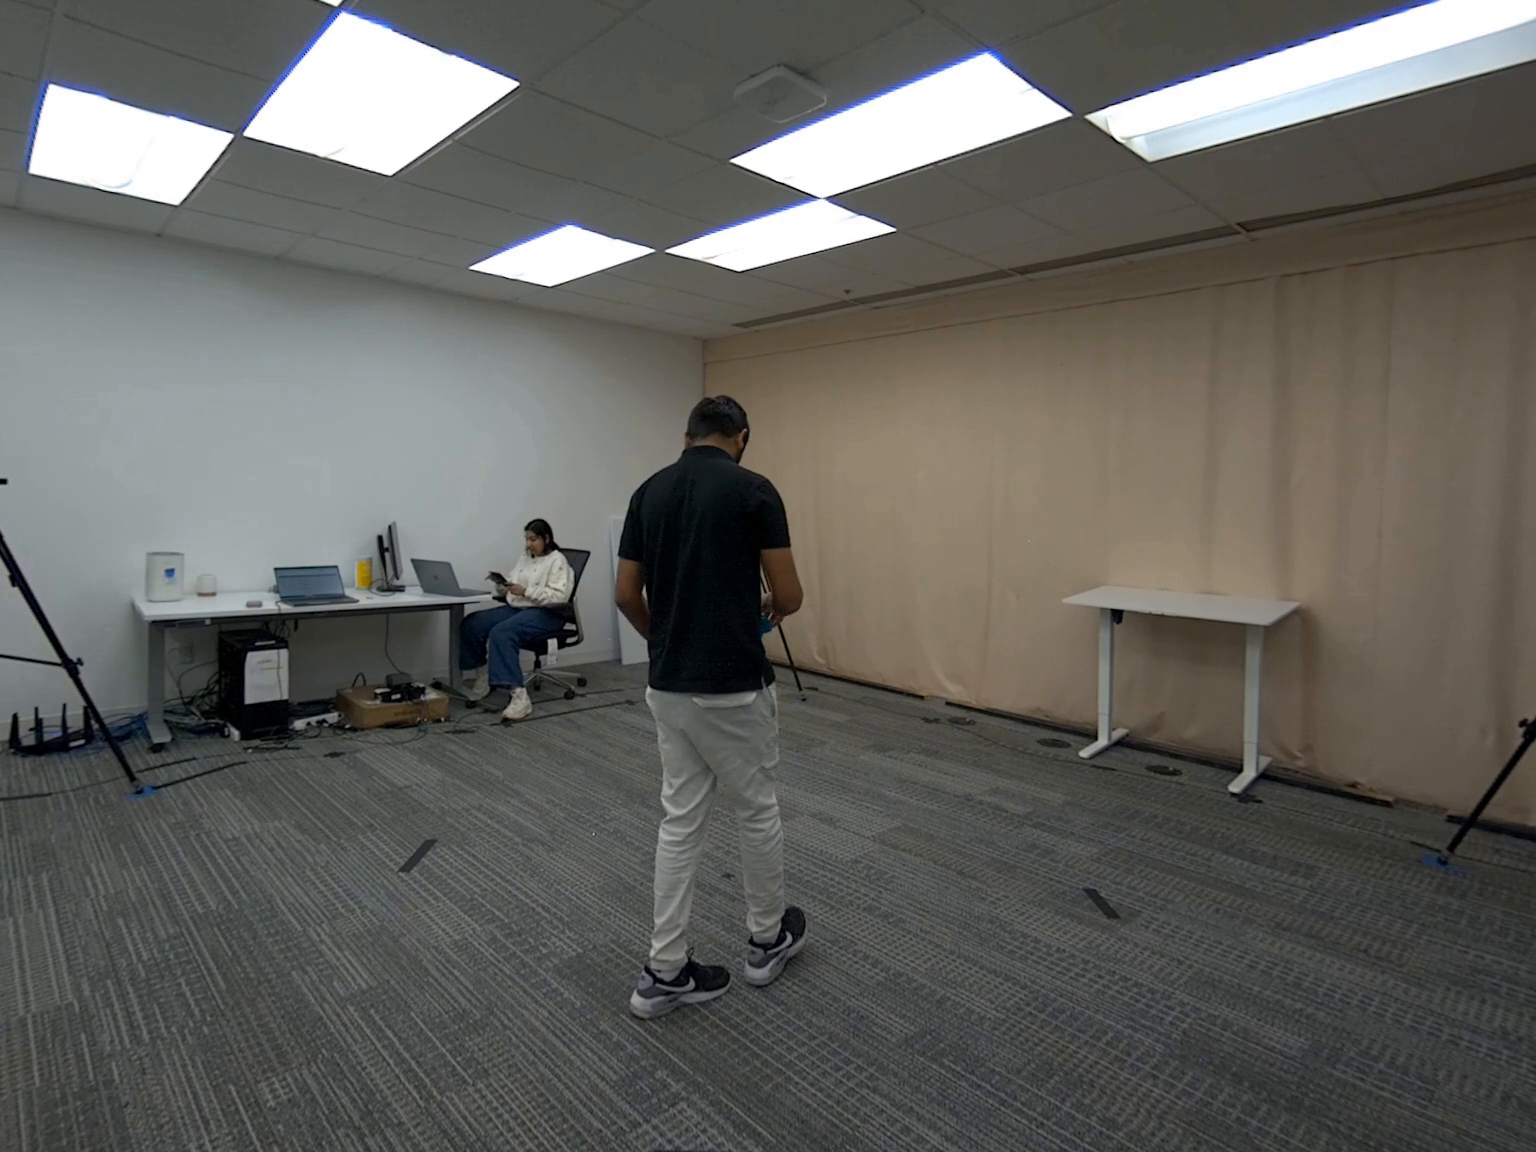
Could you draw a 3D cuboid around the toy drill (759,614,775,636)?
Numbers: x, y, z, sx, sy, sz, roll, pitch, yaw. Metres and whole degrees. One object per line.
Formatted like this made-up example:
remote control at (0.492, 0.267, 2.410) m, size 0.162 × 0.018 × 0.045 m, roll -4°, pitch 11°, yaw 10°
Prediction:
toy drill at (-0.061, 0.177, 2.638) m, size 0.175 × 0.145 × 0.060 m, roll 28°, pitch 18°, yaw 36°
